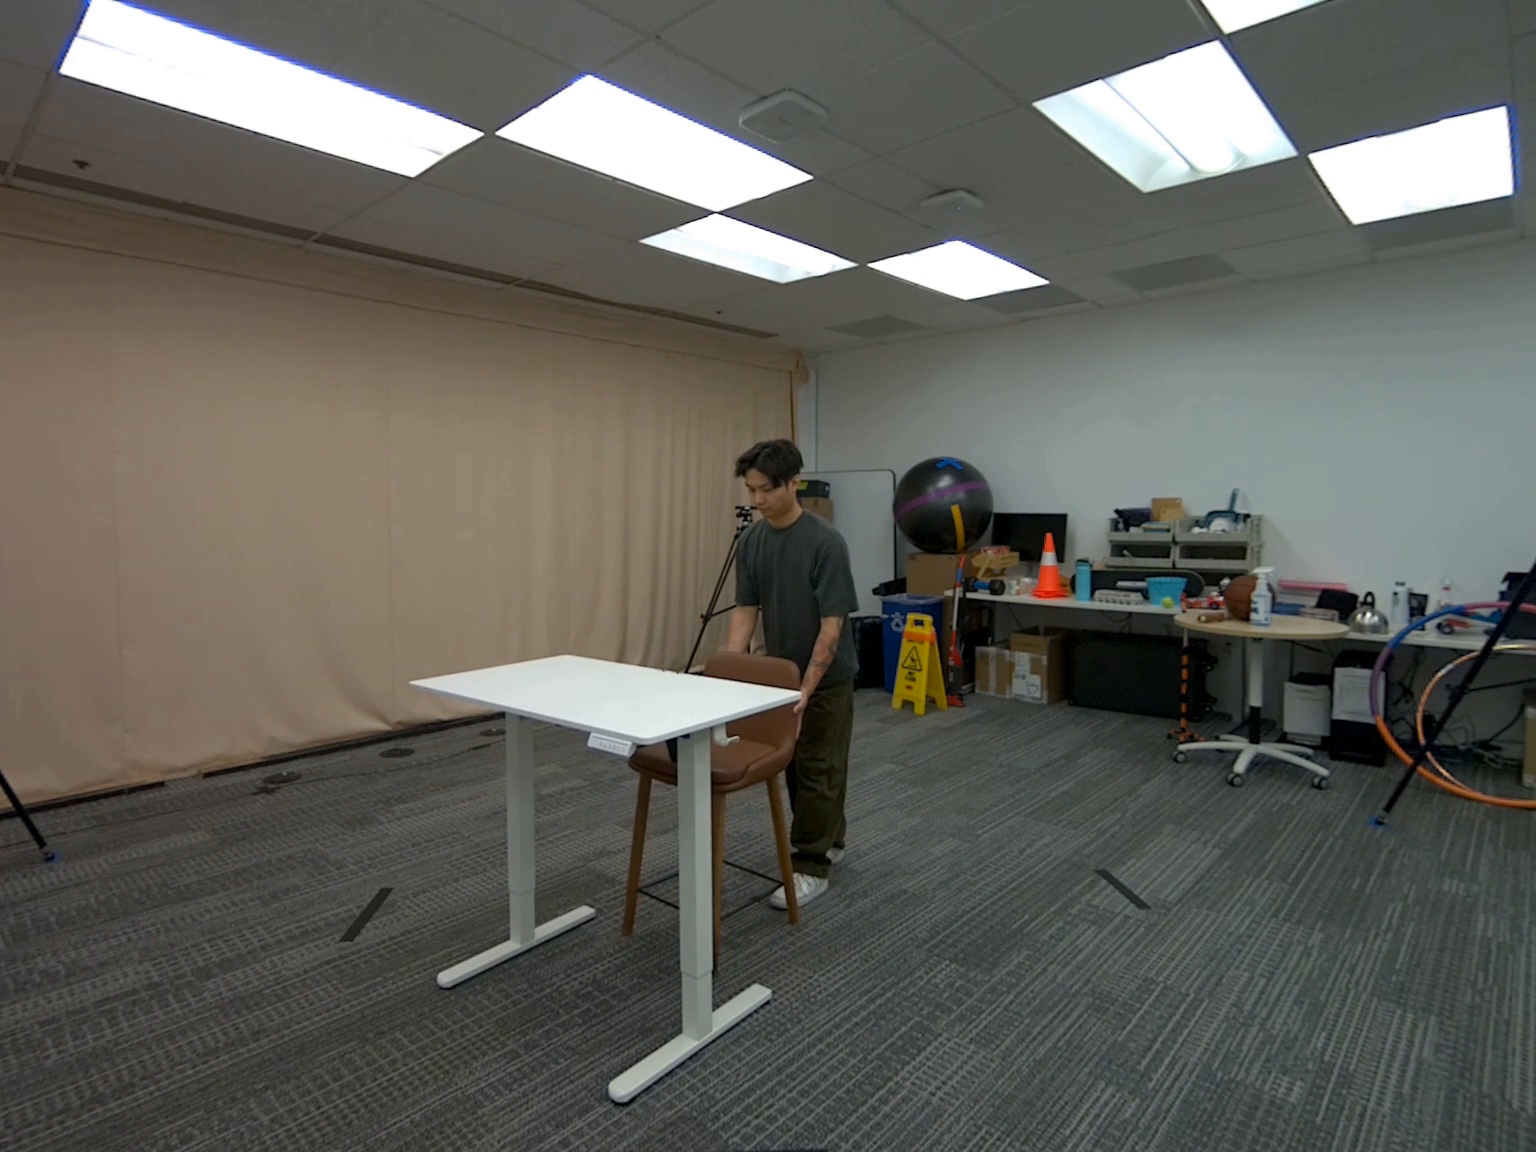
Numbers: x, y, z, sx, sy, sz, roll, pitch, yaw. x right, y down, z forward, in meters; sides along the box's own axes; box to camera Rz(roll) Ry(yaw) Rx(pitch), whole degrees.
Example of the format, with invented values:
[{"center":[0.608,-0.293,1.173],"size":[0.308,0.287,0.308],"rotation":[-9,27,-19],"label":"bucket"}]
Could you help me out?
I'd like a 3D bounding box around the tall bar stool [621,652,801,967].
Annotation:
[{"center":[-0.172,0.722,2.758],"size":[0.471,0.889,0.453],"rotation":[2,1,40],"label":"tall bar stool"}]
